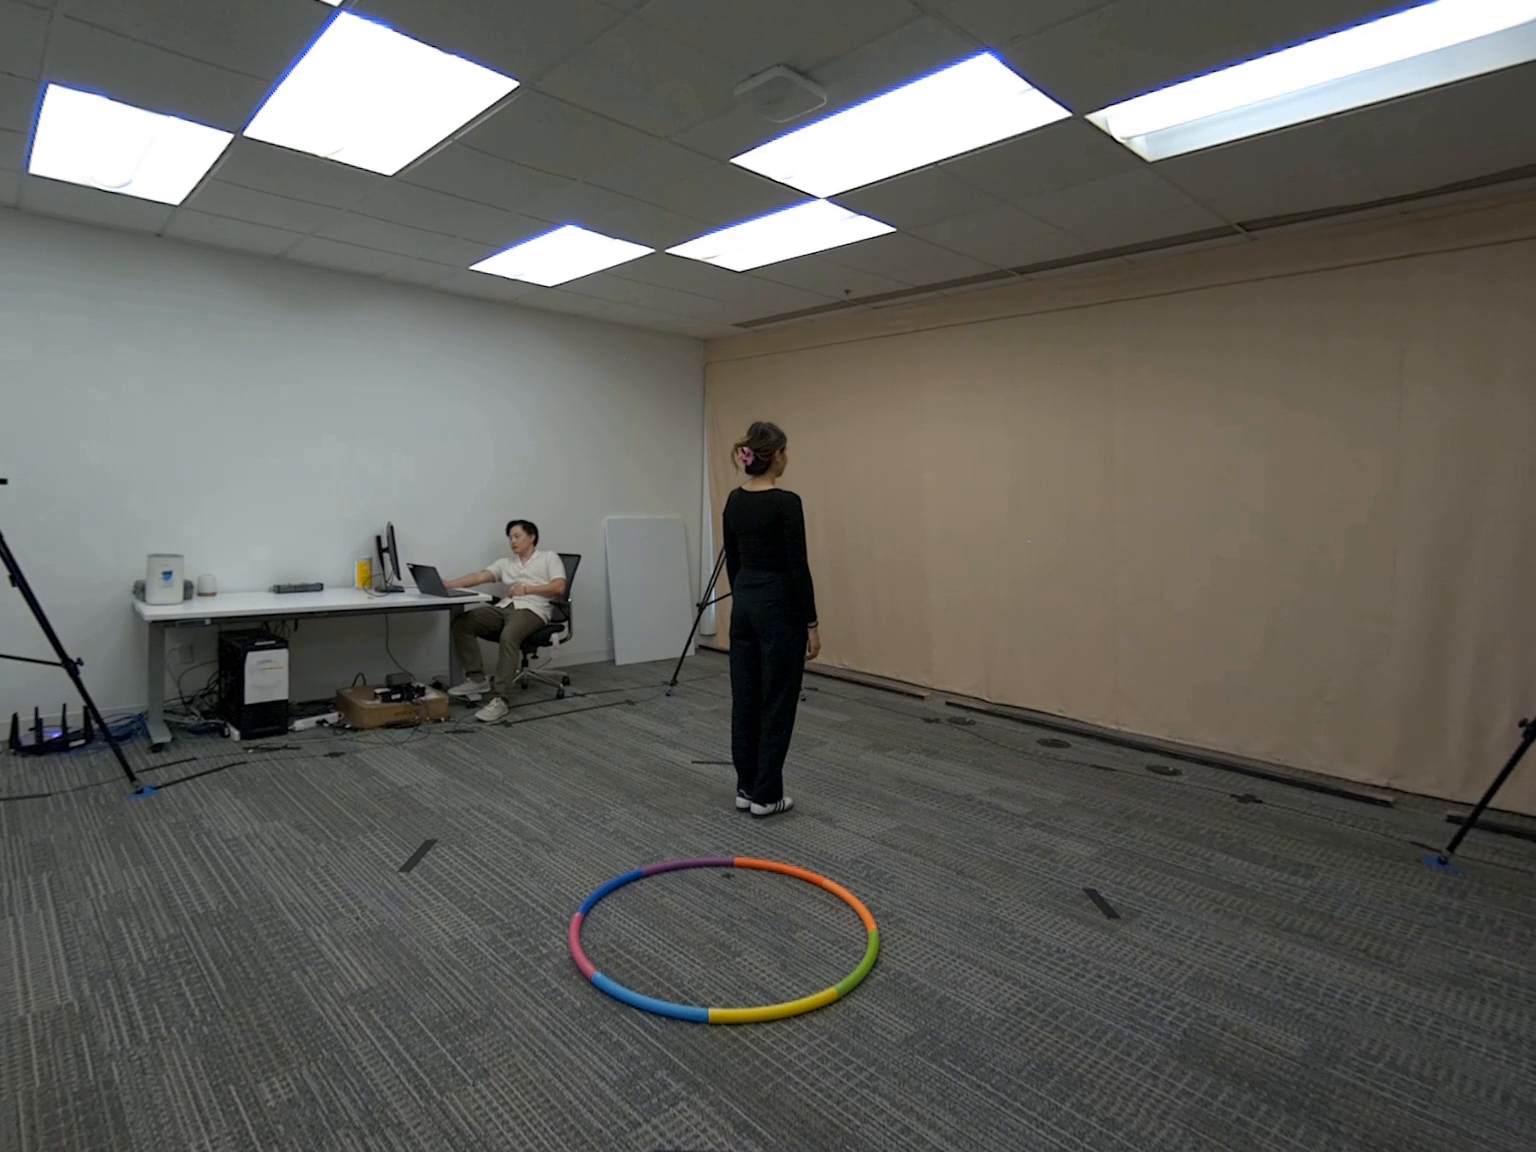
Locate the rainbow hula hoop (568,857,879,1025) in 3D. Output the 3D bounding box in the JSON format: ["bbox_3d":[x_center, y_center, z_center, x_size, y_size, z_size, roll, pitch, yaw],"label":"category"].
[{"bbox_3d":[-0.147,1.110,2.715,0.978,0.035,0.982,1,5,-1],"label":"rainbow hula hoop"}]
